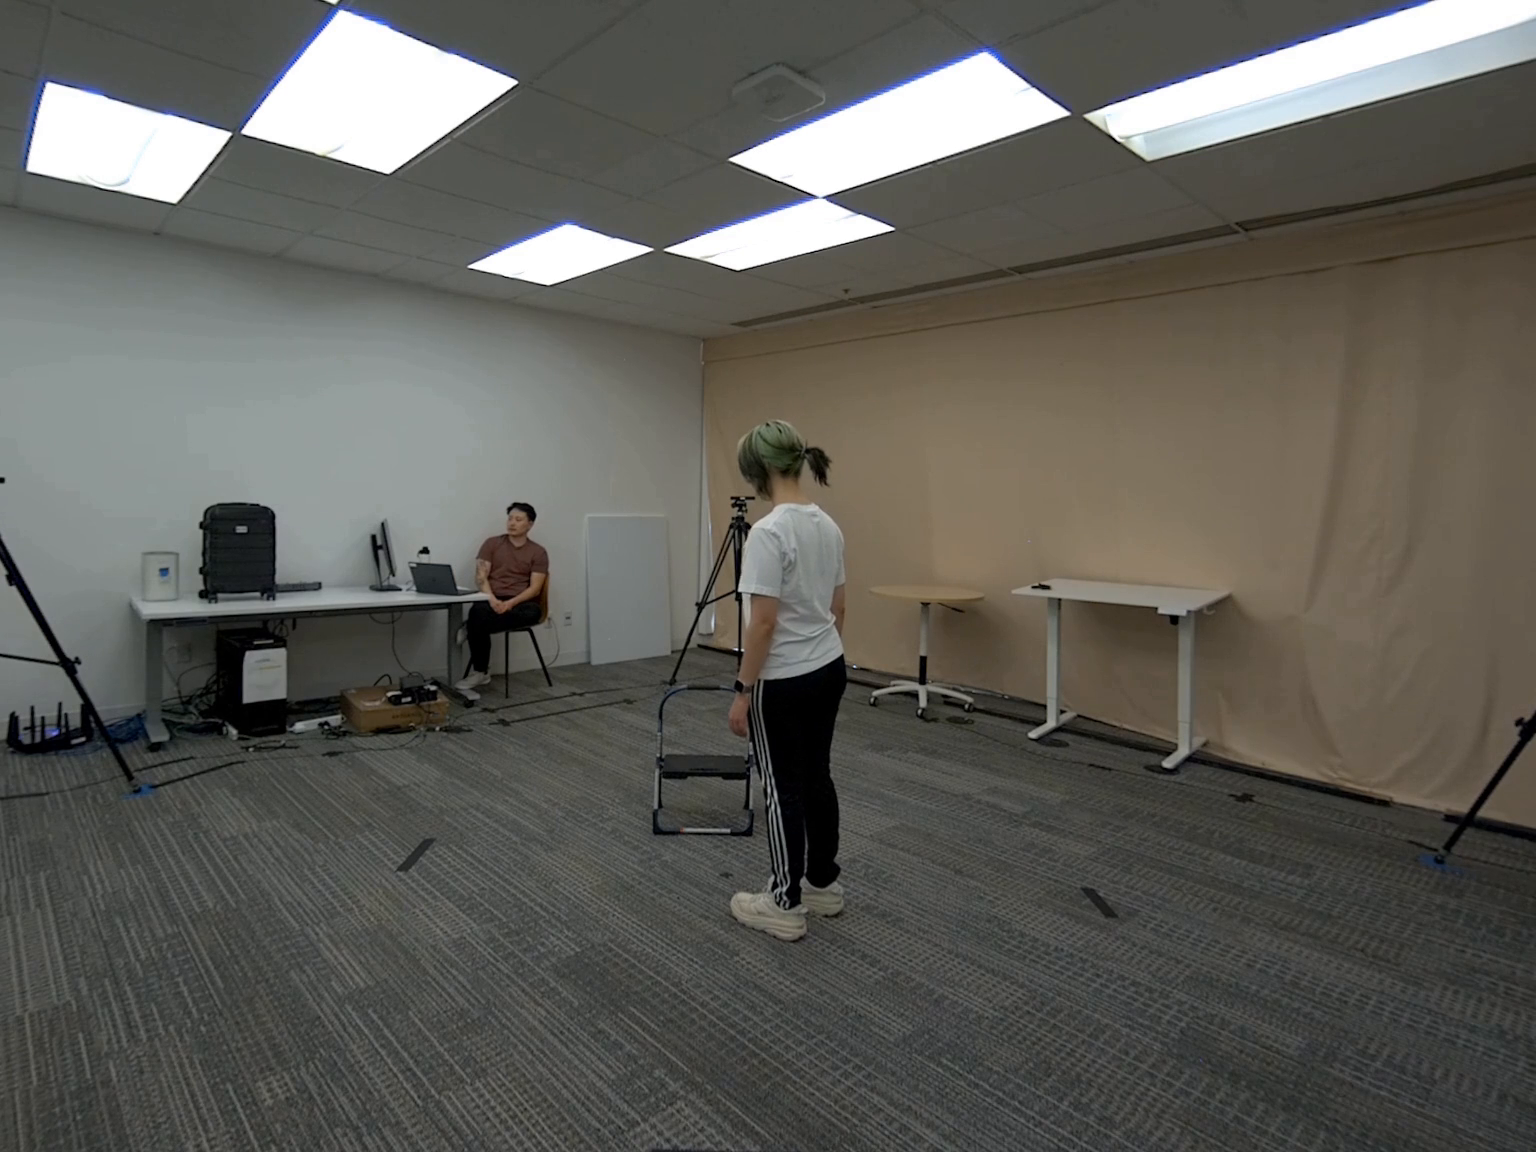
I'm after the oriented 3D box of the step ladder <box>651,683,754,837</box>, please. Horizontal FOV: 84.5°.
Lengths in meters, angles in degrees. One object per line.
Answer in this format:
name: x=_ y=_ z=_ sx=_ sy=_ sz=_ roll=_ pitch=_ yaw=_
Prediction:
step ladder: x=-0.280 y=0.755 z=3.619 sx=0.429 sy=0.605 sz=0.351 roll=1 pitch=3 yaw=-4
